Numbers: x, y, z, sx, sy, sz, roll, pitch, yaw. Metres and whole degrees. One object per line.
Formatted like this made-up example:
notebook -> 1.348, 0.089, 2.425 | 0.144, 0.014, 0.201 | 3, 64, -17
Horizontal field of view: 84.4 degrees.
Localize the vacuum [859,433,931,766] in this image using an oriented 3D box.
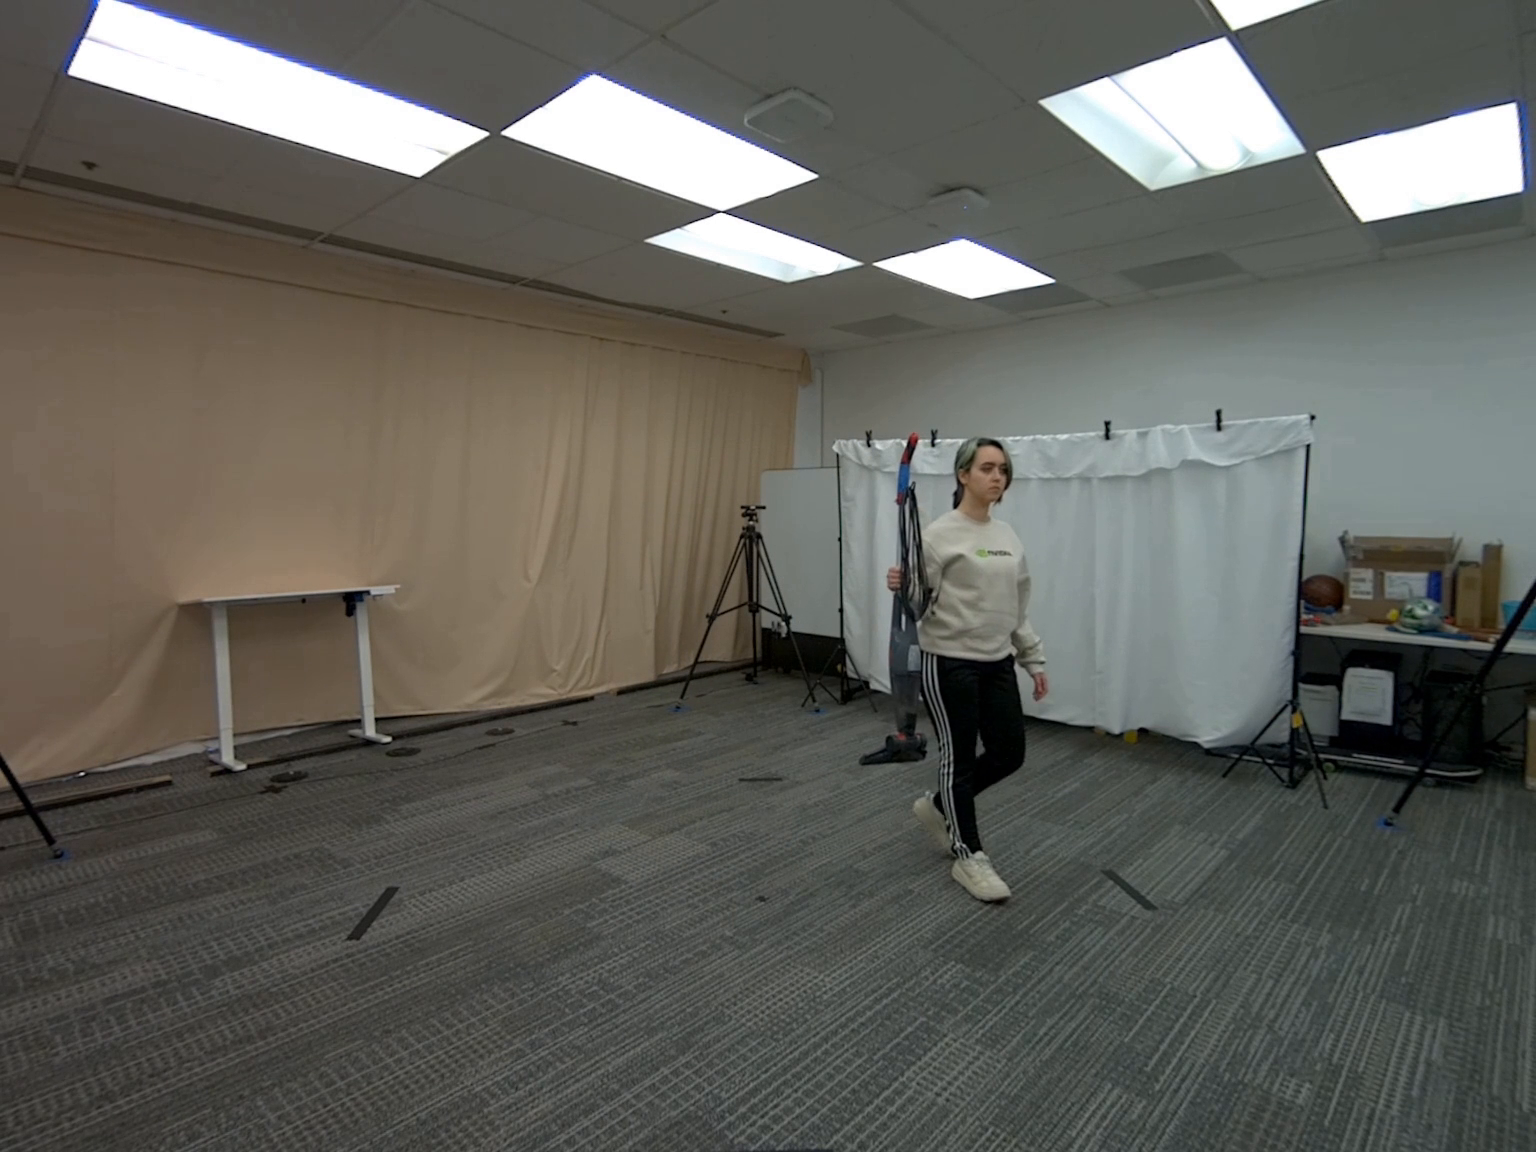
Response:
vacuum -> 0.464, 0.061, 2.803 | 0.247, 1.049, 0.147 | 3, 0, -20
